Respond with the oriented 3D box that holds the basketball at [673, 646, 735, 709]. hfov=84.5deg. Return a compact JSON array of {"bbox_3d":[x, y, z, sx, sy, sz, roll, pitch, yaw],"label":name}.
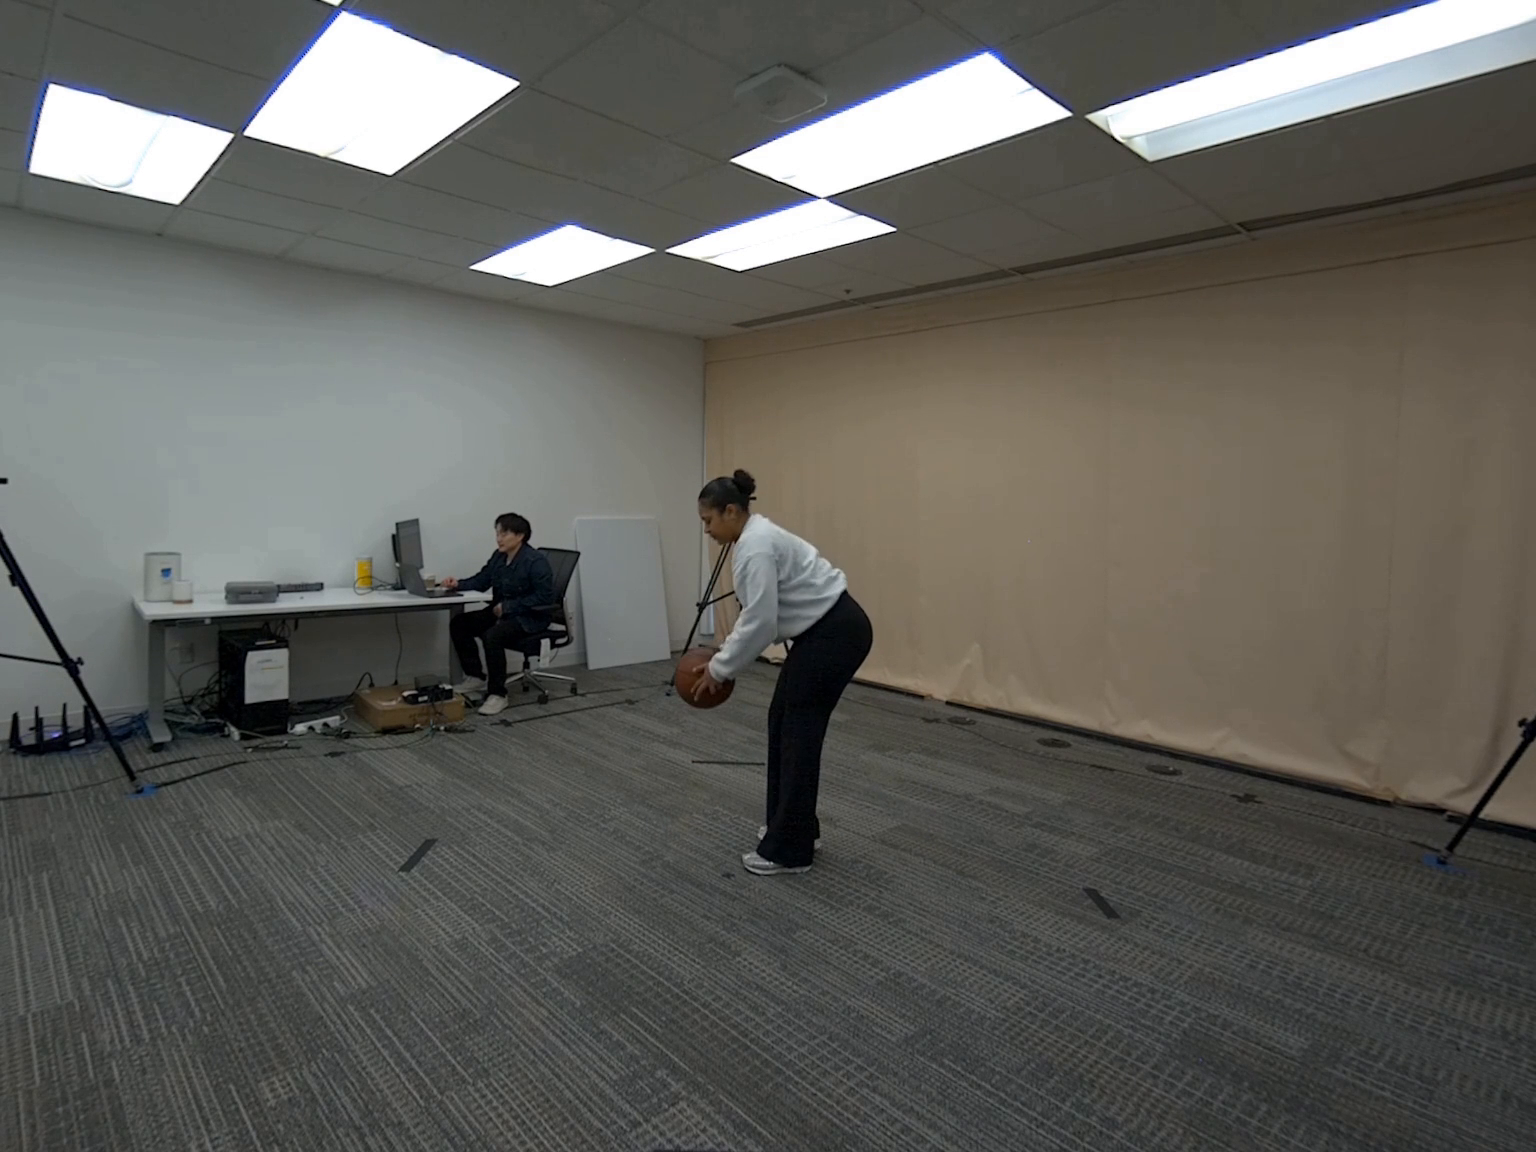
[{"bbox_3d":[-0.248,0.392,3.257,0.236,0.235,0.237,1,4,-1],"label":"basketball"}]
